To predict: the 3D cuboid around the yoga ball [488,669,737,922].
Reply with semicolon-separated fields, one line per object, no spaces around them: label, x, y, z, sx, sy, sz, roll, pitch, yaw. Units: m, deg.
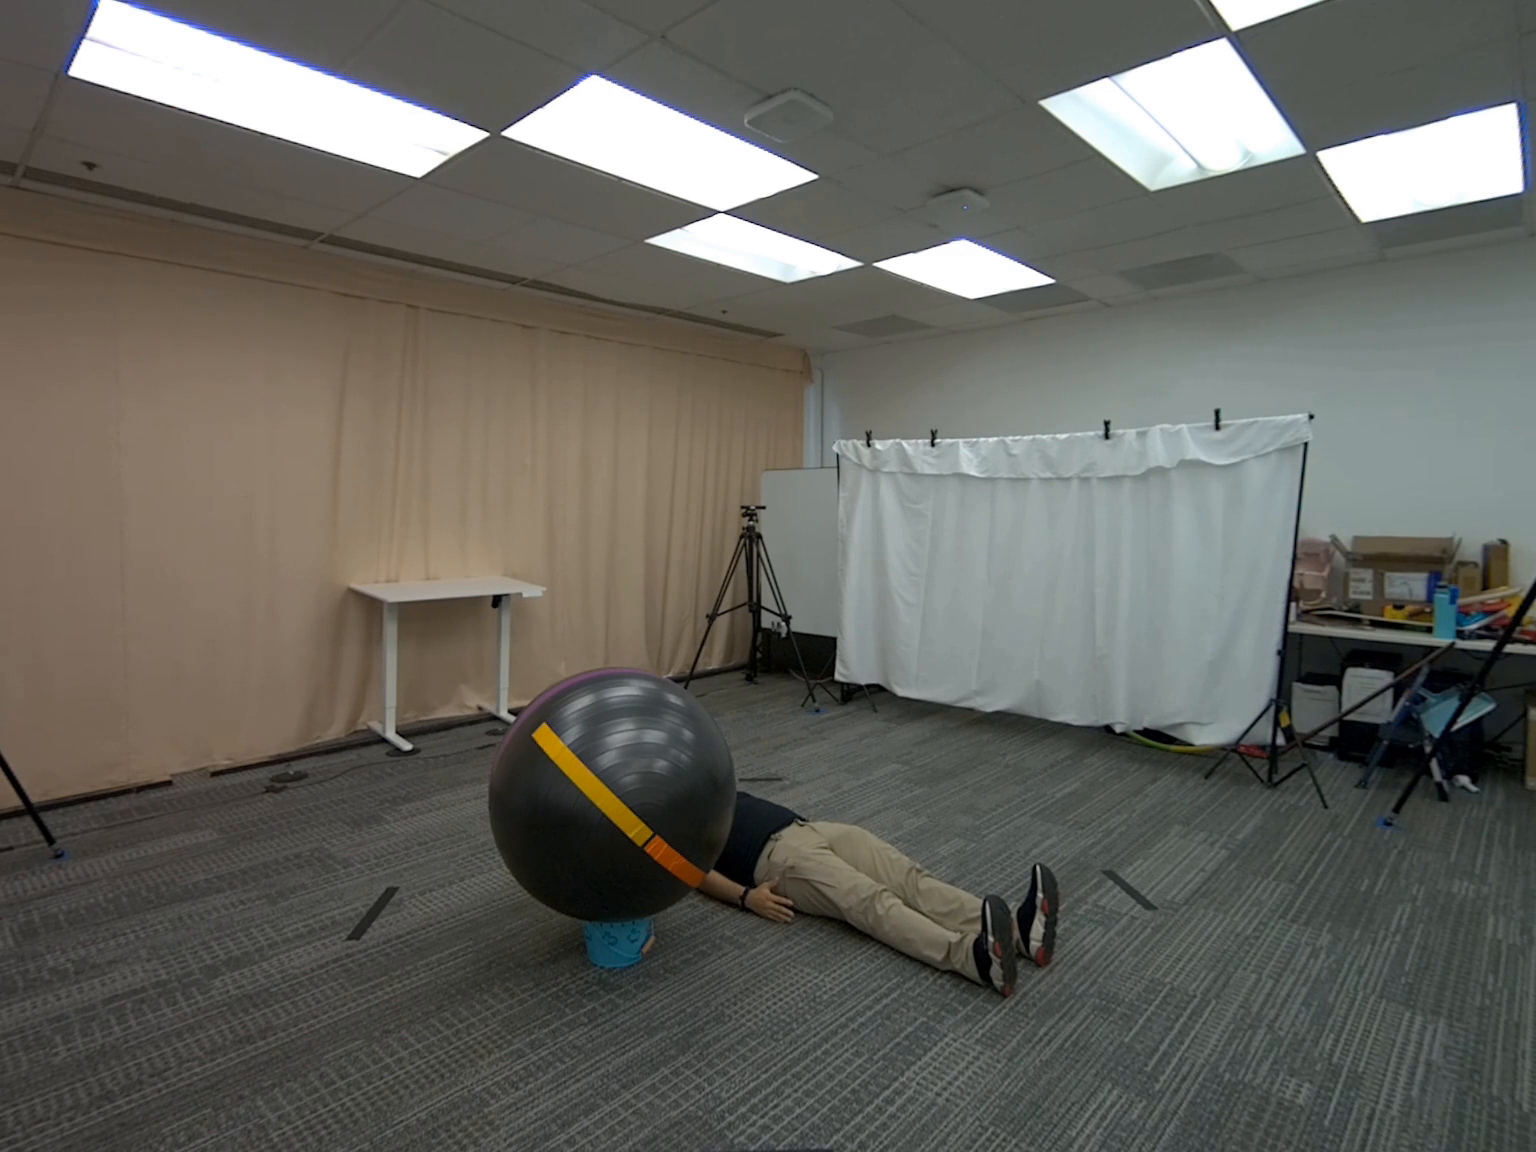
yoga ball;-0.475;0.672;2.609;0.757;0.756;0.761;0;4;-2
